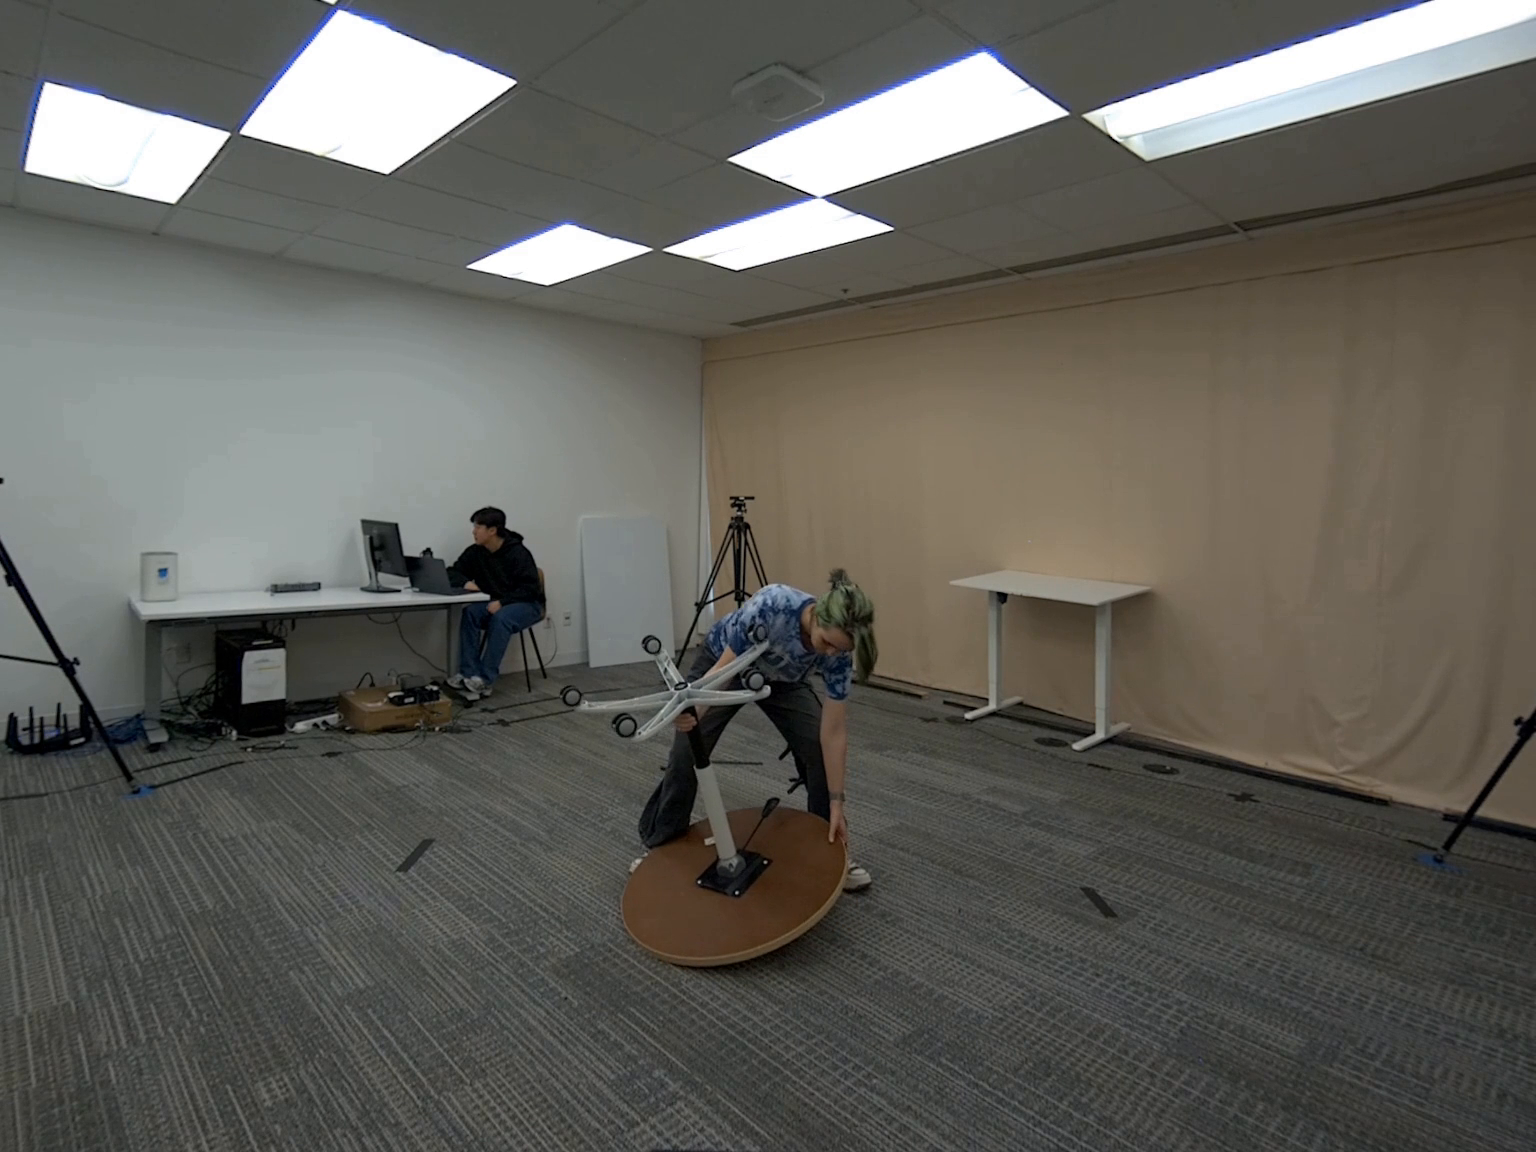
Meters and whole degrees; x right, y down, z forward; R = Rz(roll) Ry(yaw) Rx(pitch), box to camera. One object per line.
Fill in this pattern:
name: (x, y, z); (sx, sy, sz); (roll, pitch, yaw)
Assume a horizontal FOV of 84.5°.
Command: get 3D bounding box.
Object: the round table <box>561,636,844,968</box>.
round table: (-0.209, 0.653, 2.712); (0.765, 0.784, 0.773); (-14, 15, 2)
